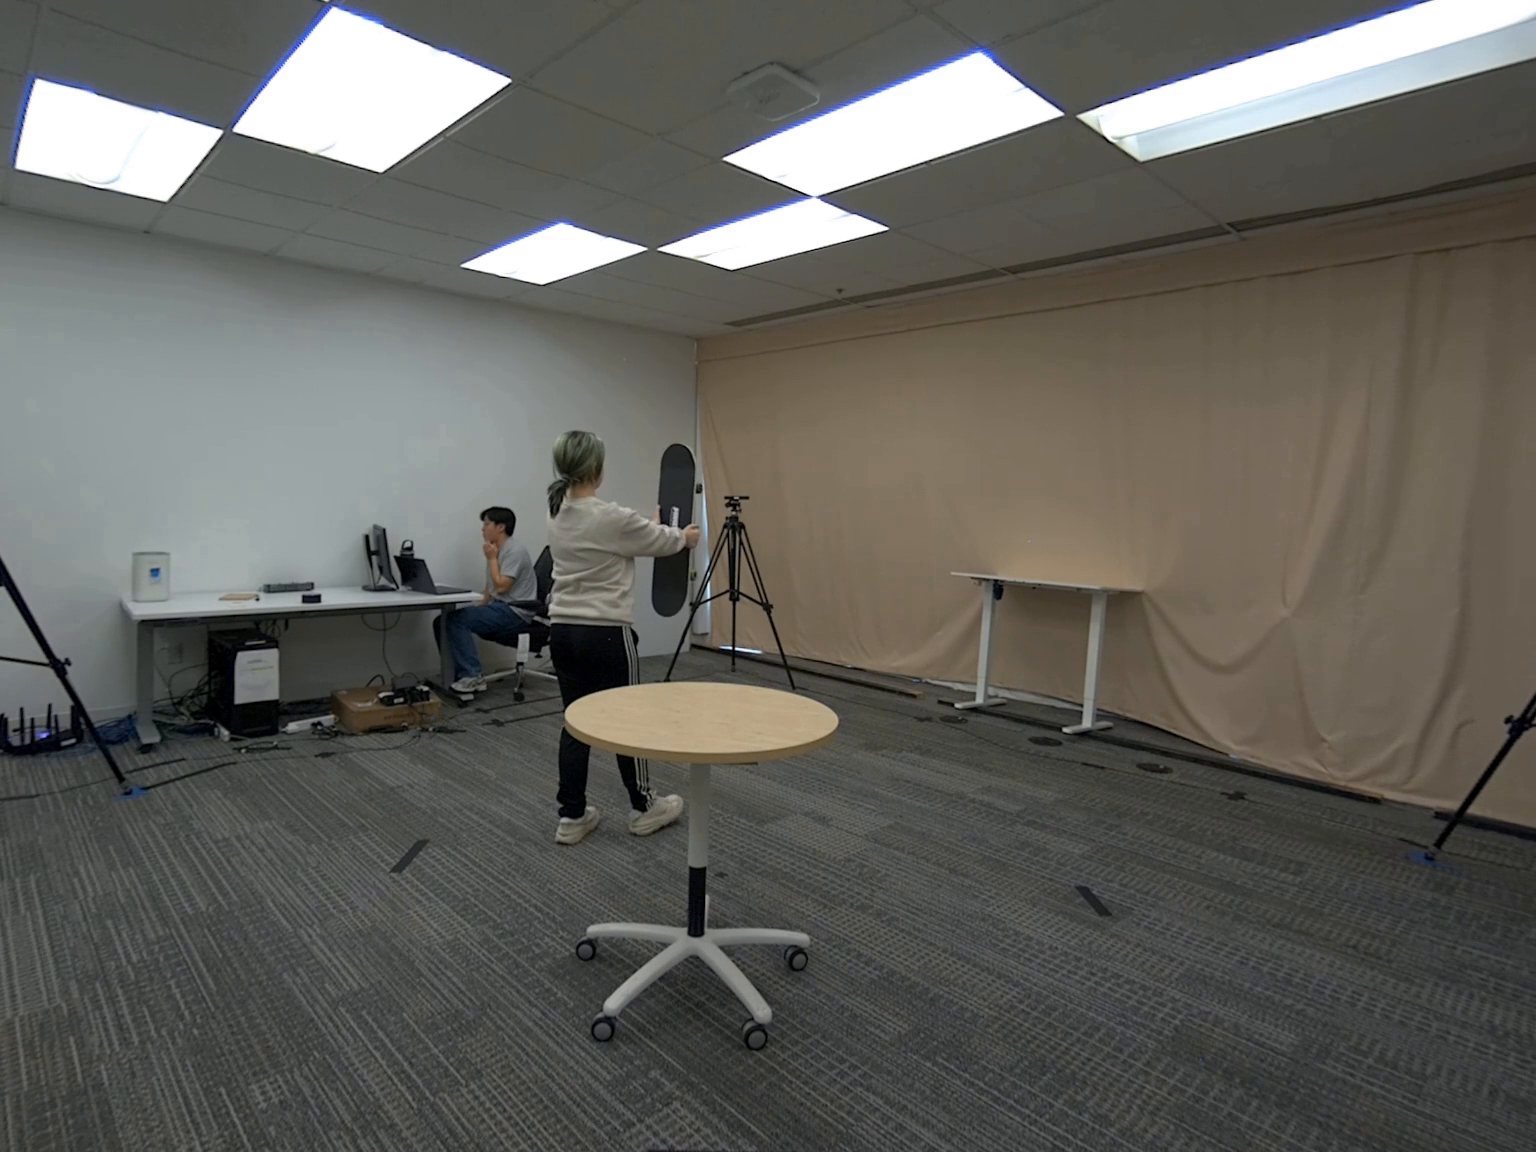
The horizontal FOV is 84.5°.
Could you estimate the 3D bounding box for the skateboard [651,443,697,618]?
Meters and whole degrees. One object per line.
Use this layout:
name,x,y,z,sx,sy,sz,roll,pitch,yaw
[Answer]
skateboard,-0.425,-0.208,3.840,0.197,0.789,0.107,0,-7,29
